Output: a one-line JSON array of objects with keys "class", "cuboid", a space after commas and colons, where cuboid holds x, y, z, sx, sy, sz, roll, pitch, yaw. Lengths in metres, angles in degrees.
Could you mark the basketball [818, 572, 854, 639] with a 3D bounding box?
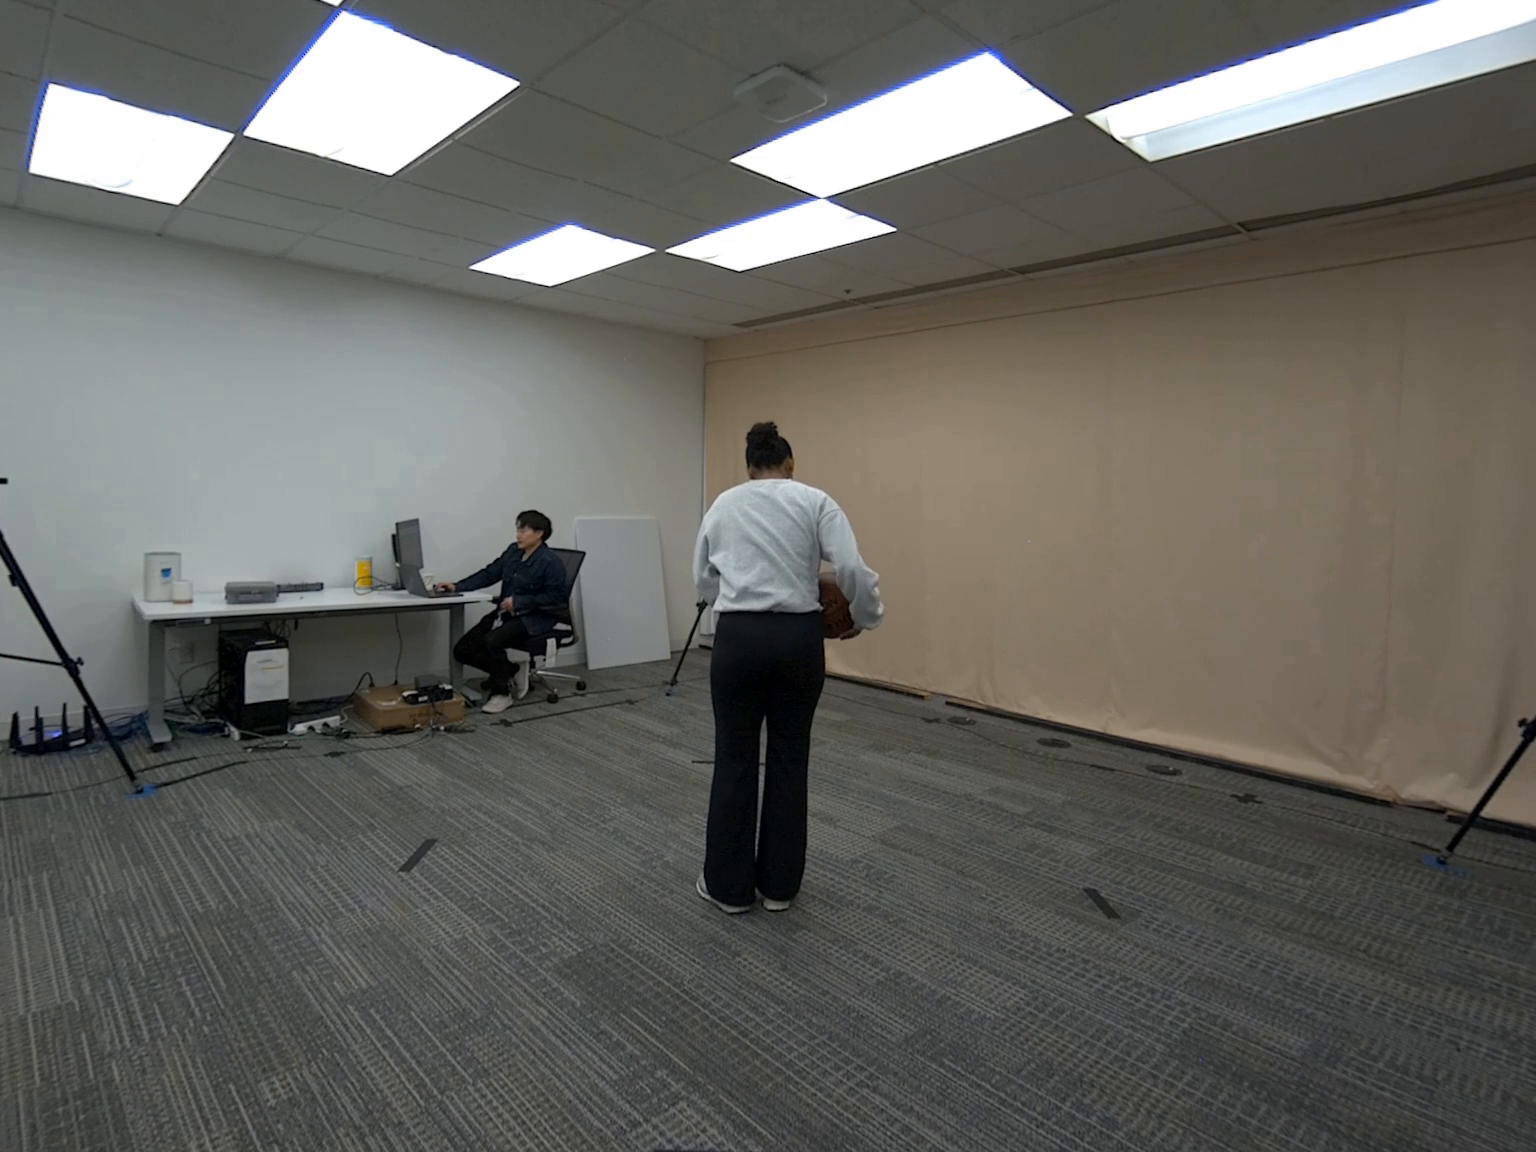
[{"class": "basketball", "cuboid": [0.209, 0.100, 2.998, 0.236, 0.235, 0.237, 1, 4, -1]}]
